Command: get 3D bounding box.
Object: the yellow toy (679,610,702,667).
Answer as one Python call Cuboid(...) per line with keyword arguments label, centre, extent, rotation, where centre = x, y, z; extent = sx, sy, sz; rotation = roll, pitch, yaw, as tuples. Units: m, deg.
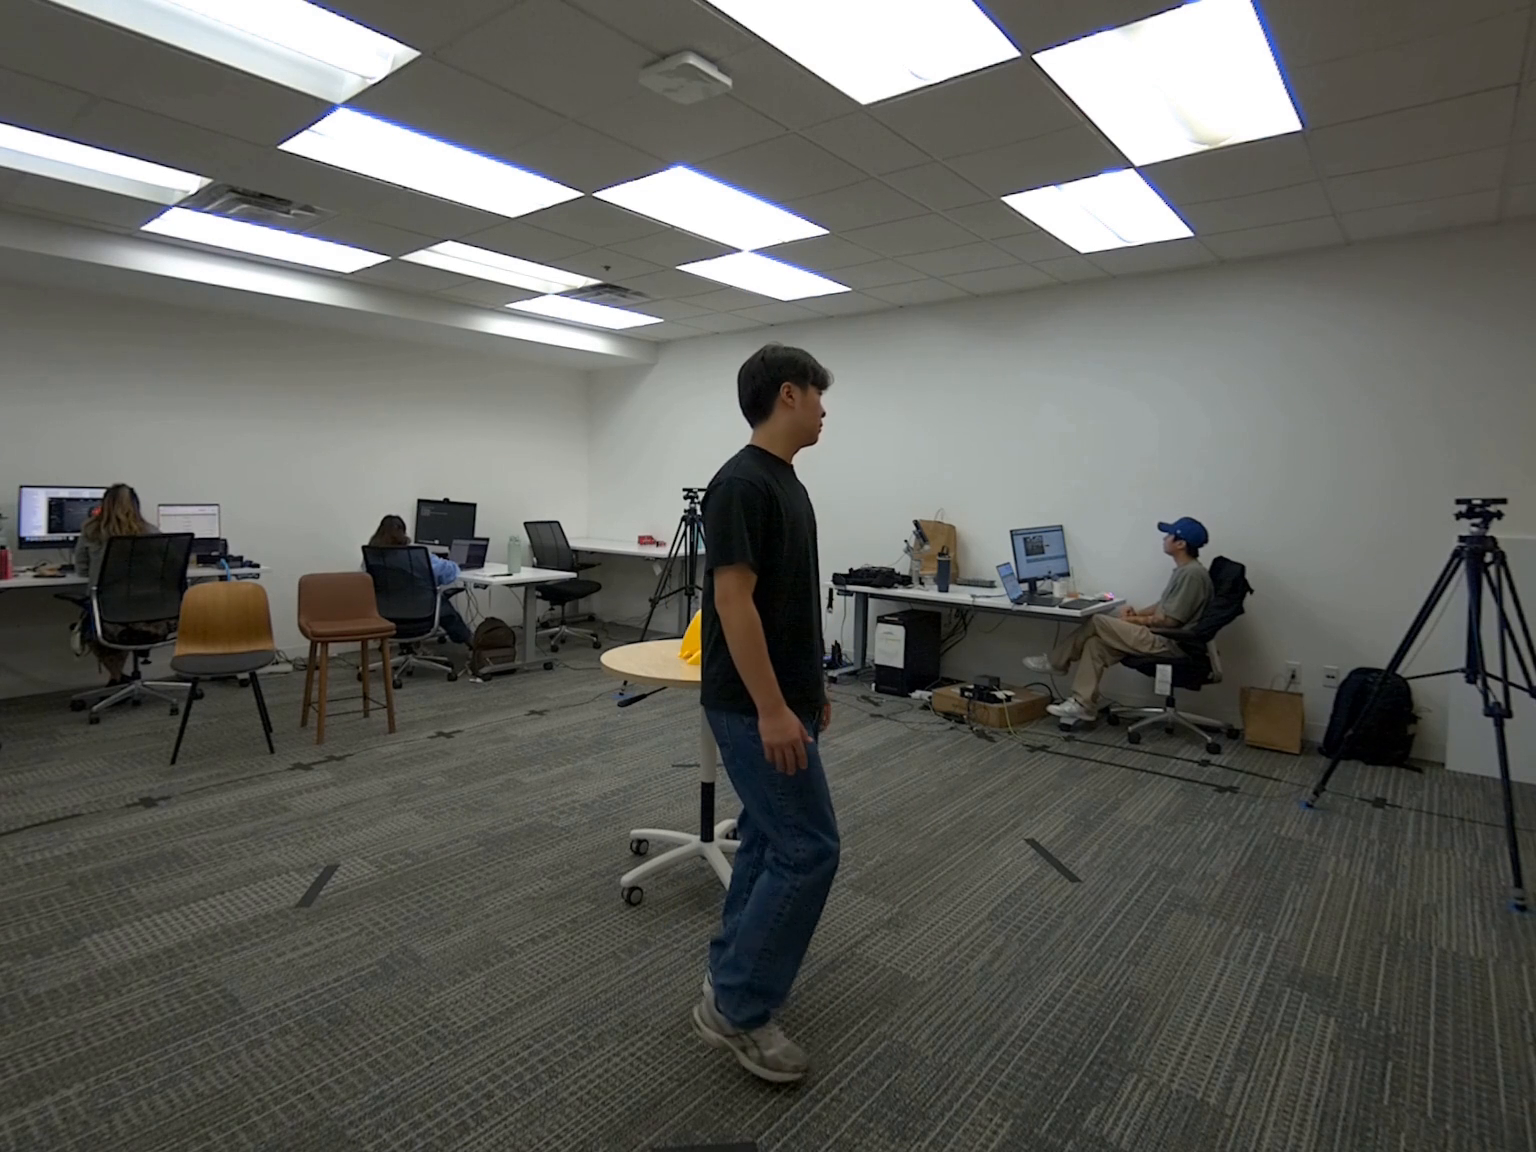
Cuboid(label="yellow toy", centre=(-0.223, 0.171, 2.964), extent=(0.189, 0.230, 0.209), rotation=(1, 3, -21))
